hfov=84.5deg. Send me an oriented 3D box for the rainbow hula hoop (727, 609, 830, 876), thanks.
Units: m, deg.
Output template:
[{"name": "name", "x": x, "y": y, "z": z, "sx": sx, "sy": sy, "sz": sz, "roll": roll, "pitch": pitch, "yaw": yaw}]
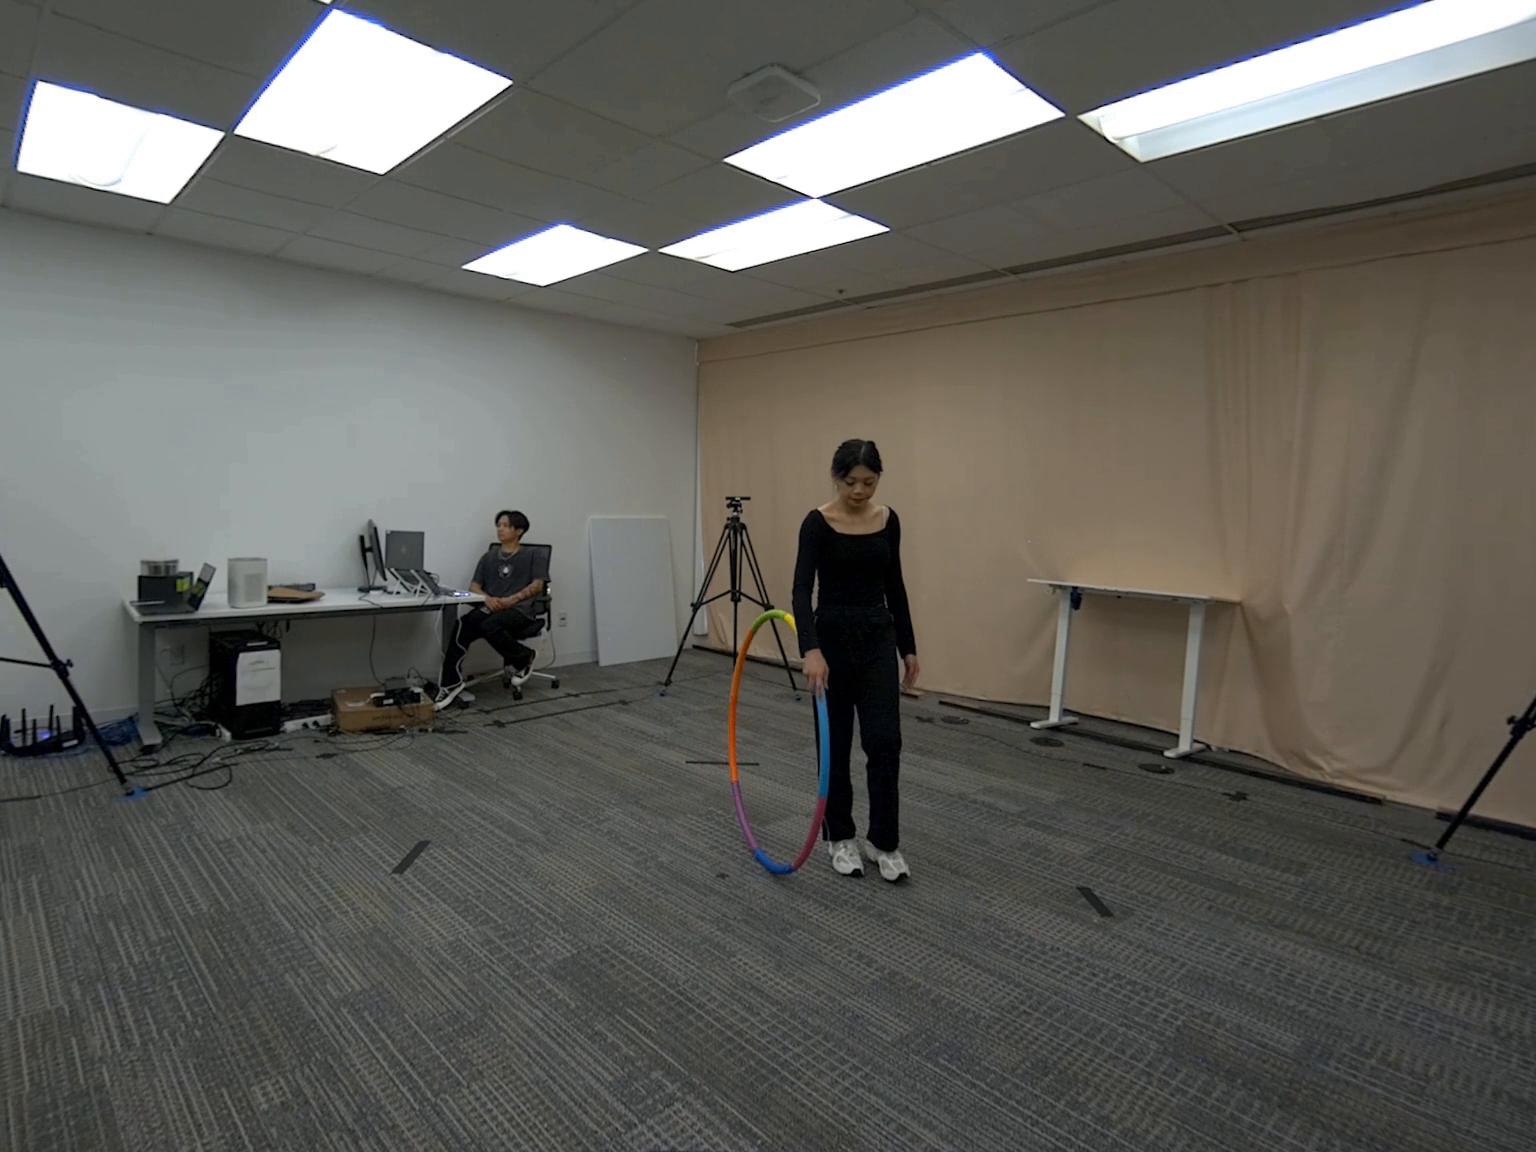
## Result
[{"name": "rainbow hula hoop", "x": 0.006, "y": 0.621, "z": 3.221, "sx": 0.035, "sy": 0.976, "sz": 0.995, "roll": 3, "pitch": 4, "yaw": -20}]
